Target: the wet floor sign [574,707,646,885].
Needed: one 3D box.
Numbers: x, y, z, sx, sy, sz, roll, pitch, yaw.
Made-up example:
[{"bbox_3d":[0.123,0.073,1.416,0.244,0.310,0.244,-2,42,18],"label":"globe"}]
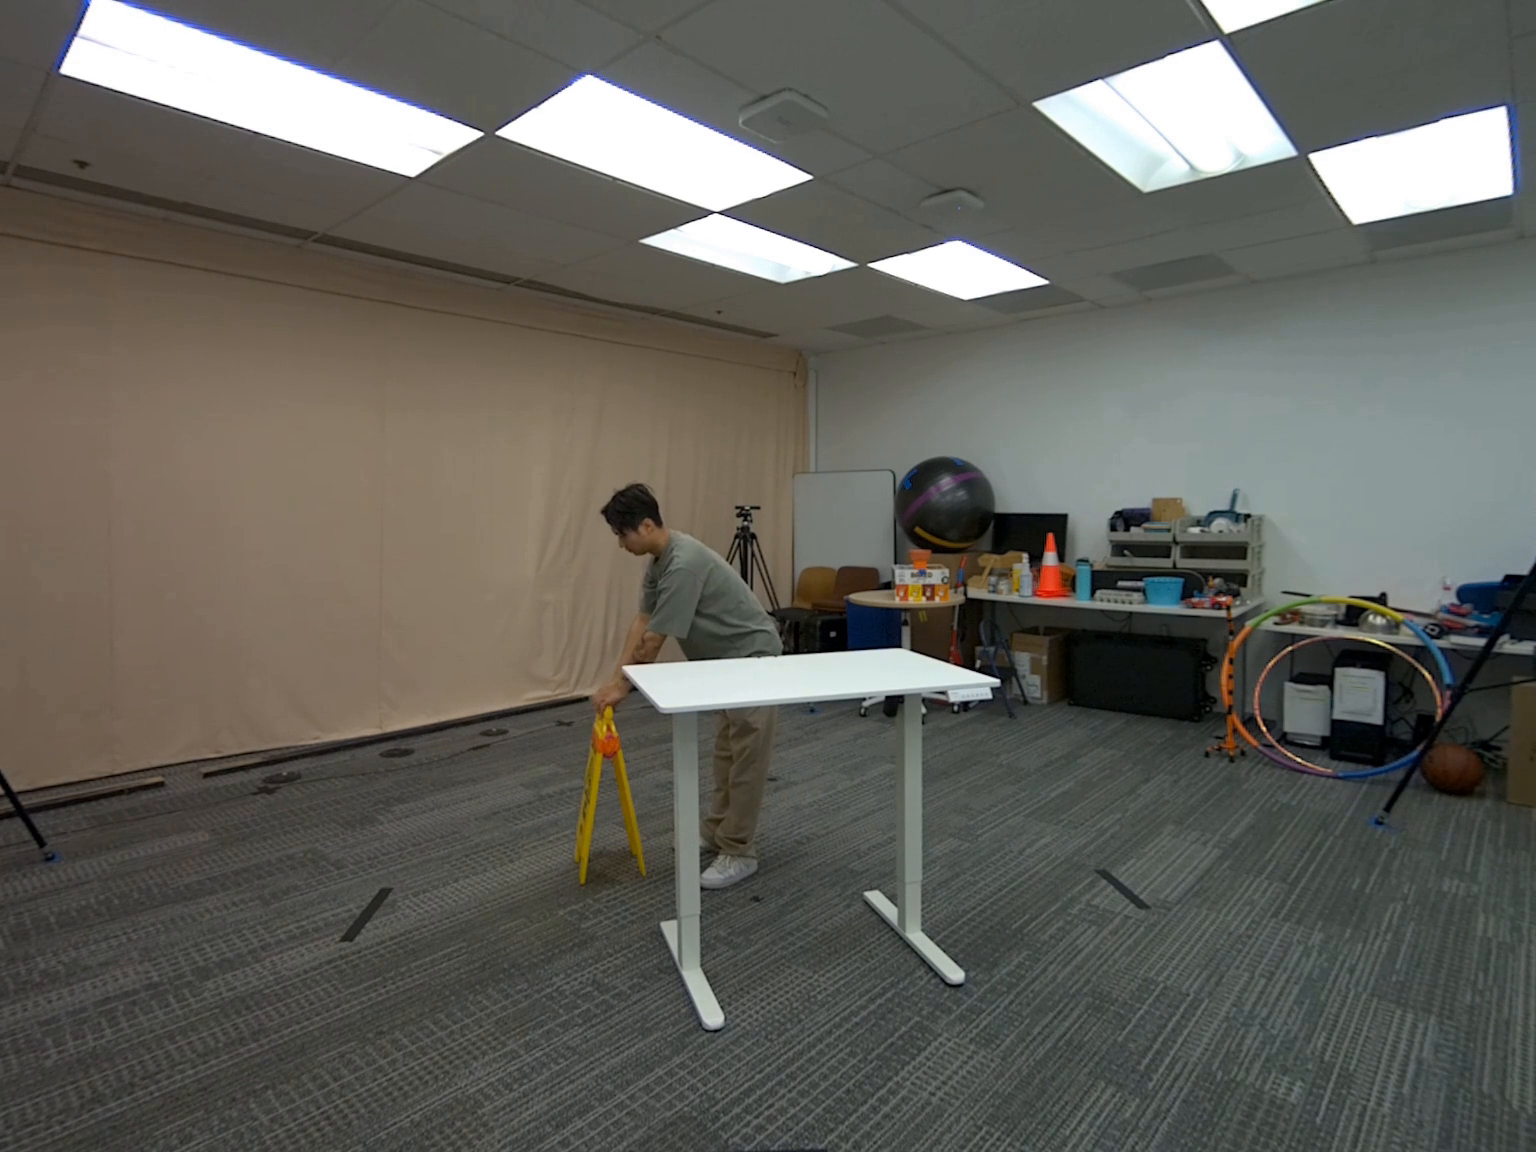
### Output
[{"bbox_3d":[-0.623,0.804,3.249,0.285,0.645,0.287,-3,2,-16],"label":"wet floor sign"}]
